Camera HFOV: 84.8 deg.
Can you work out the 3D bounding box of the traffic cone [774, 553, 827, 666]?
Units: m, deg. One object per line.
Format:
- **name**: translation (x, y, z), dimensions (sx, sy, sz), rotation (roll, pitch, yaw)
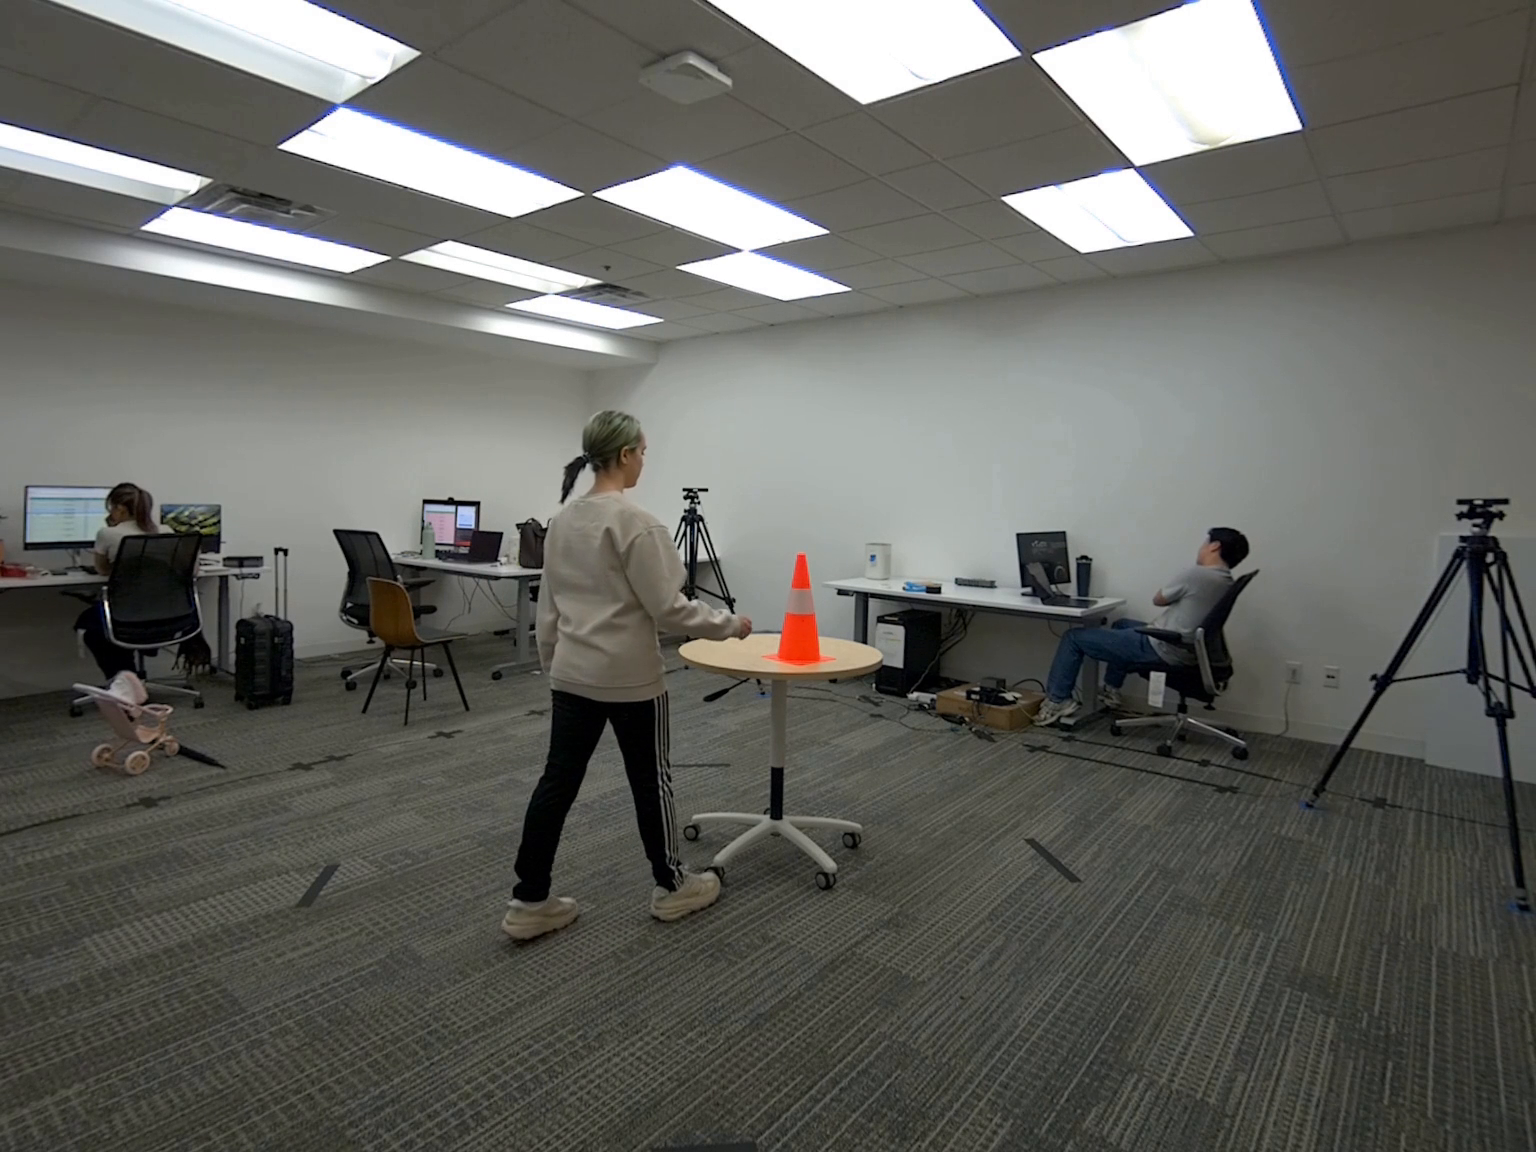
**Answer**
- **traffic cone**: translation (0.109, 0.109, 3.070), dimensions (0.212, 0.382, 0.197), rotation (6, 6, 43)
